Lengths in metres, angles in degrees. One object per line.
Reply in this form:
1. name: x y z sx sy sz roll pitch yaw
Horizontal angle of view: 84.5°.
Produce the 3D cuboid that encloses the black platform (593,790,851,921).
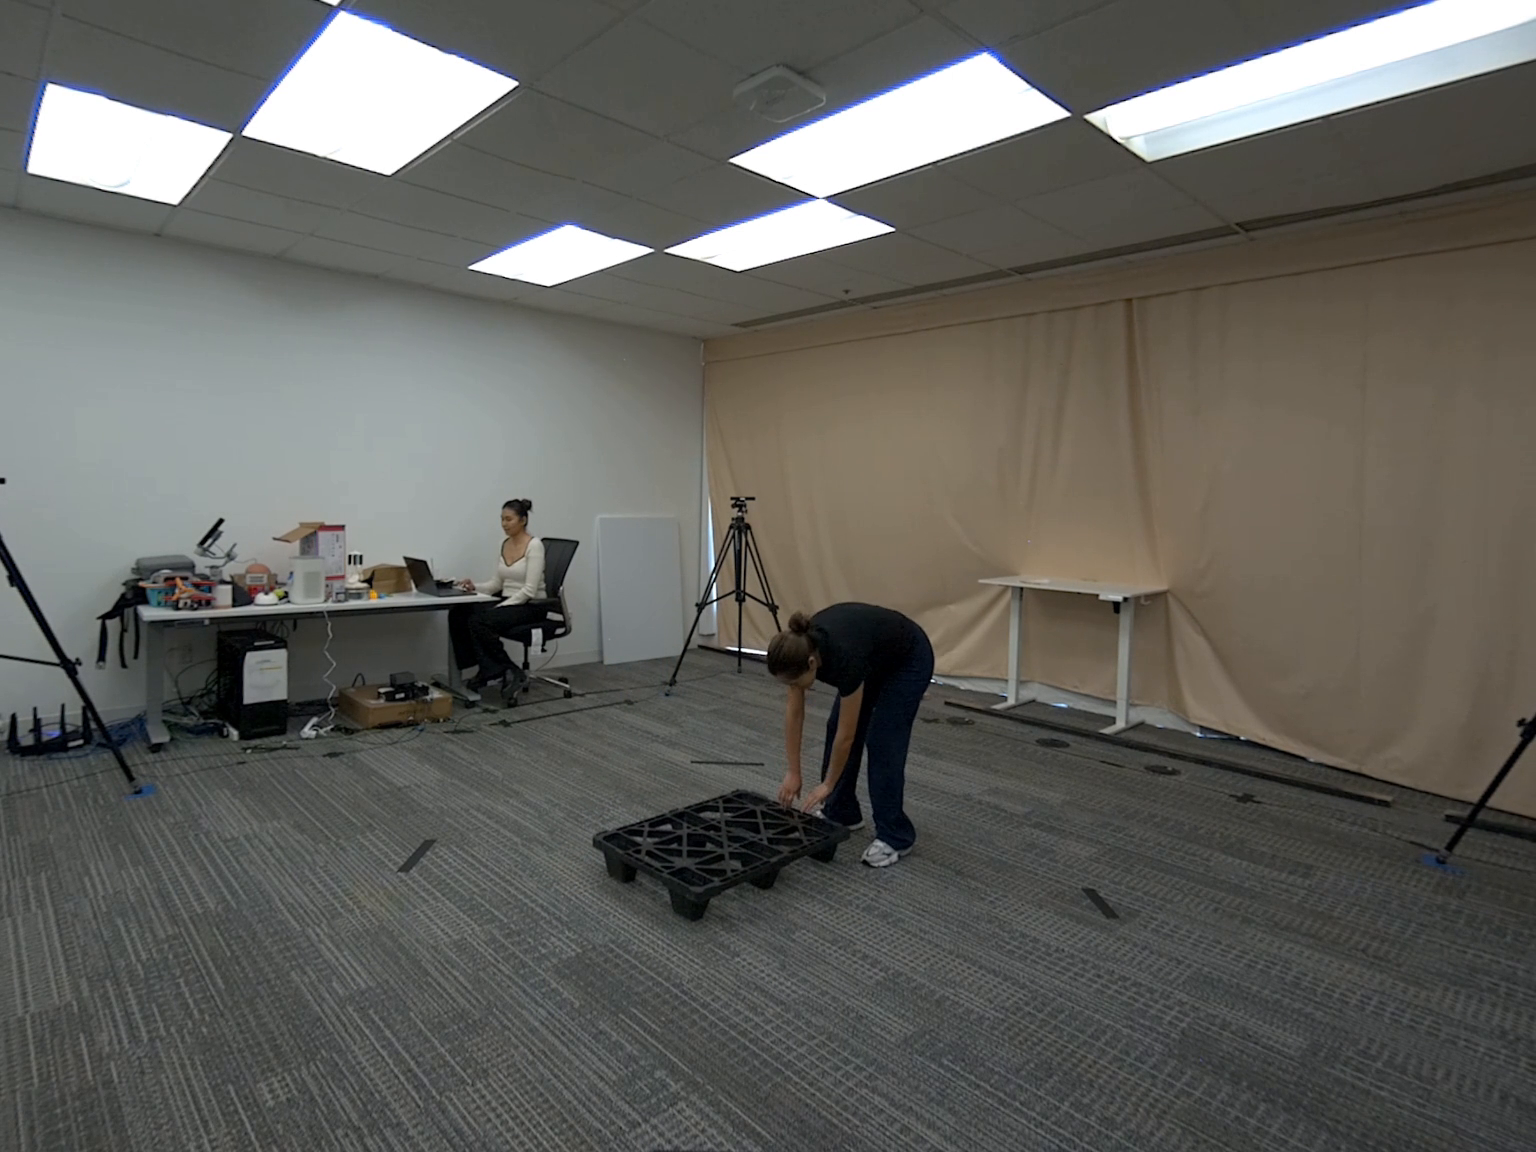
1. black platform: -0.167 1.035 3.158 0.621 0.143 0.787 7 8 44
